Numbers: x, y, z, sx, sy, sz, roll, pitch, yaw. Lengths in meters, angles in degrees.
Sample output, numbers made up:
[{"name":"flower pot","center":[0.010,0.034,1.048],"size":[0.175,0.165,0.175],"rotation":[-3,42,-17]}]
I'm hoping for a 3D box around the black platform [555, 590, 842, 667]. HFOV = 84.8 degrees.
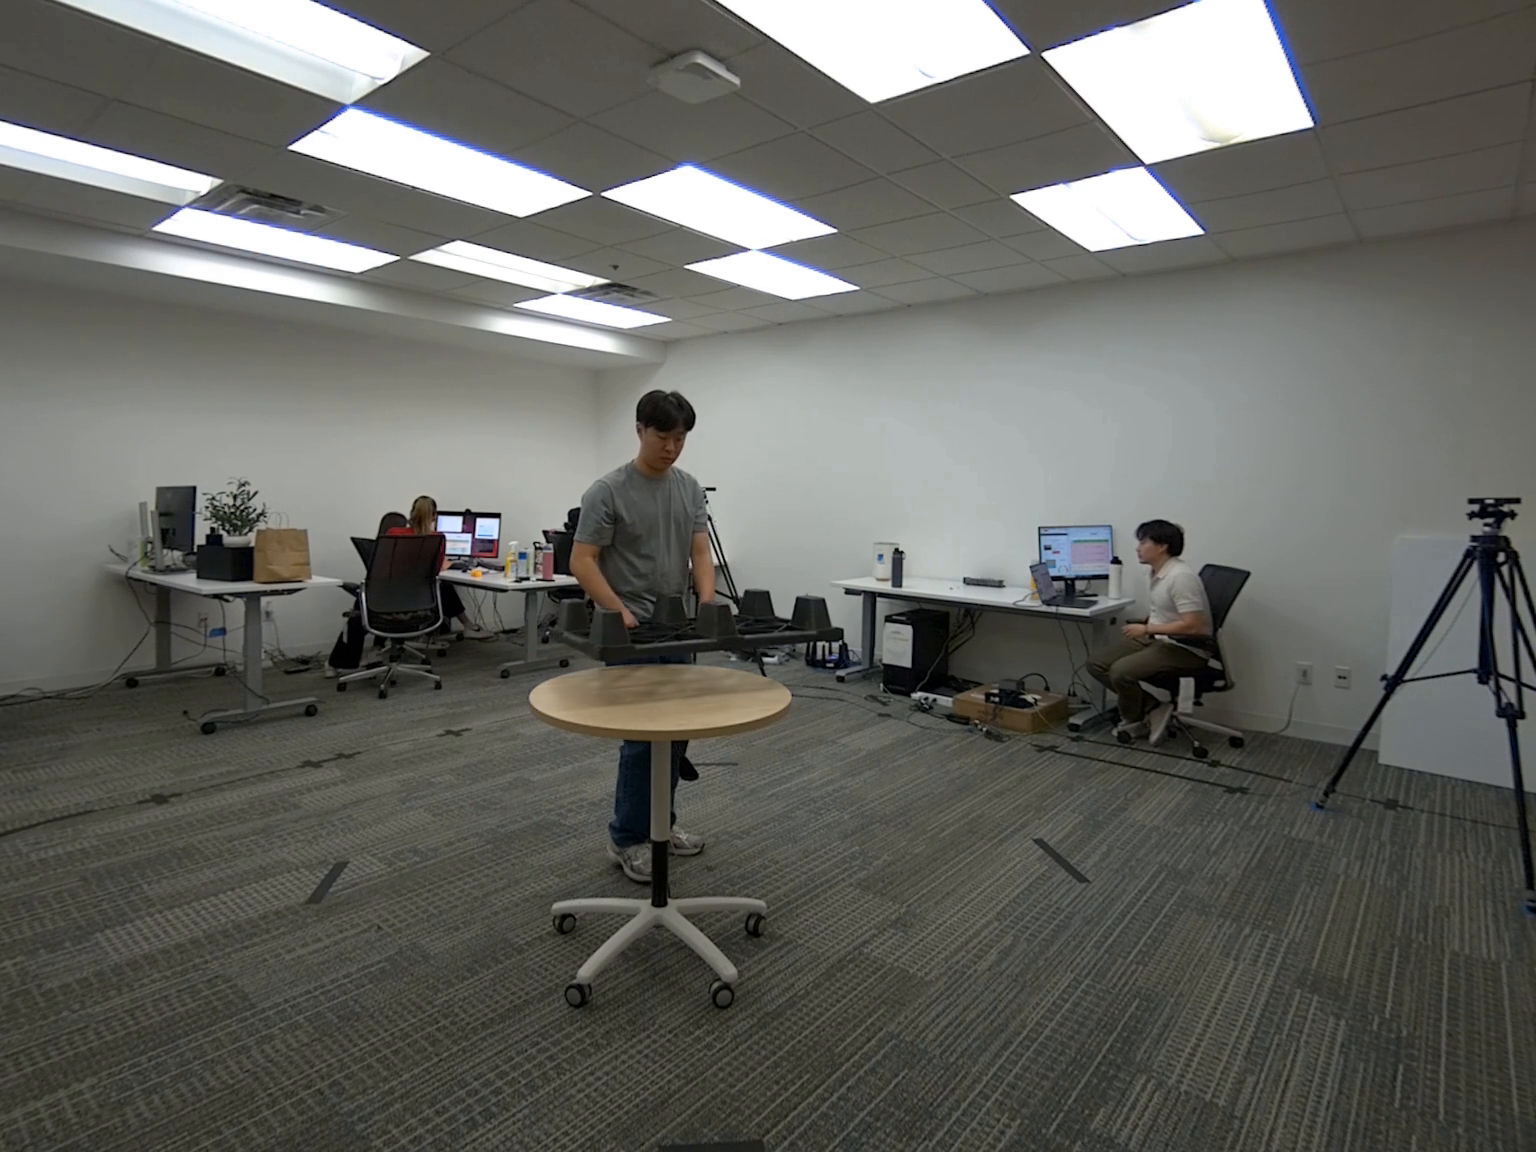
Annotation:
[{"name":"black platform","center":[-0.256,0.139,2.766],"size":[0.786,0.143,0.621],"rotation":[-3,4,-27]}]
